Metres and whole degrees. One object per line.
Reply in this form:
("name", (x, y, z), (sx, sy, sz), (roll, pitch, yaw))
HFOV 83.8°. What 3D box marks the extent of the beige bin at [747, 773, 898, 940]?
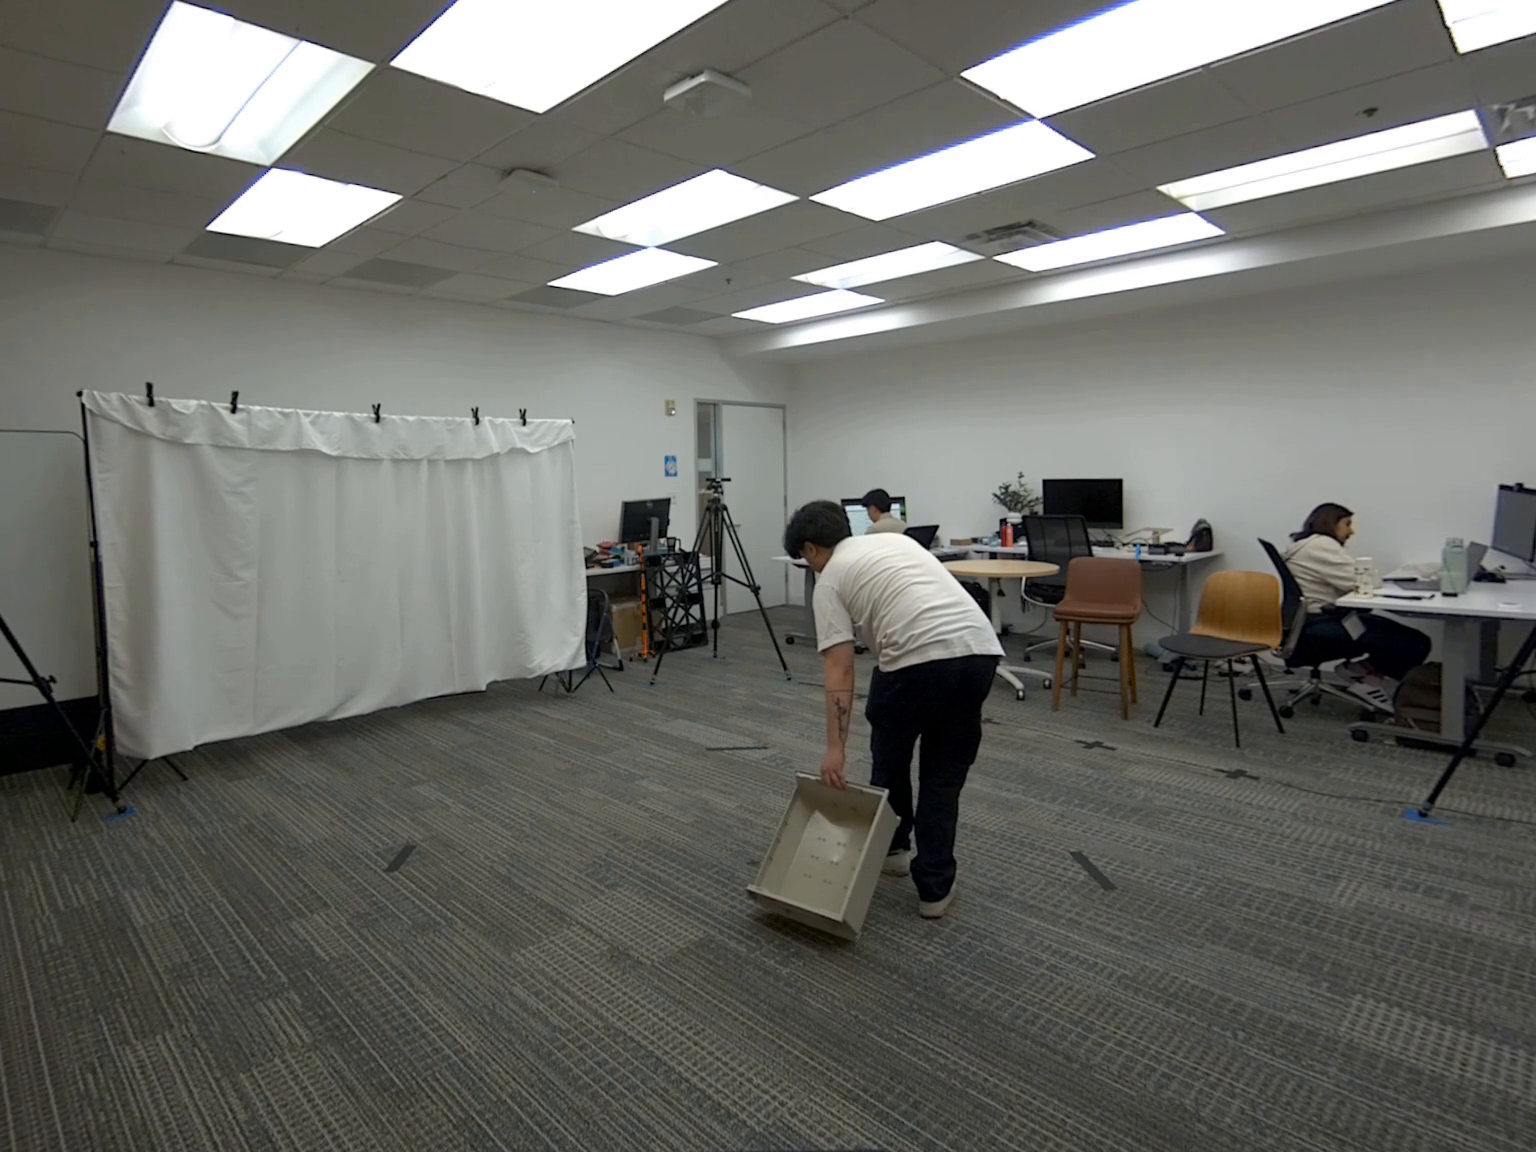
("beige bin", (0.174, 0.877, 2.719), (0.388, 0.182, 0.426), (3, 50, 34))
